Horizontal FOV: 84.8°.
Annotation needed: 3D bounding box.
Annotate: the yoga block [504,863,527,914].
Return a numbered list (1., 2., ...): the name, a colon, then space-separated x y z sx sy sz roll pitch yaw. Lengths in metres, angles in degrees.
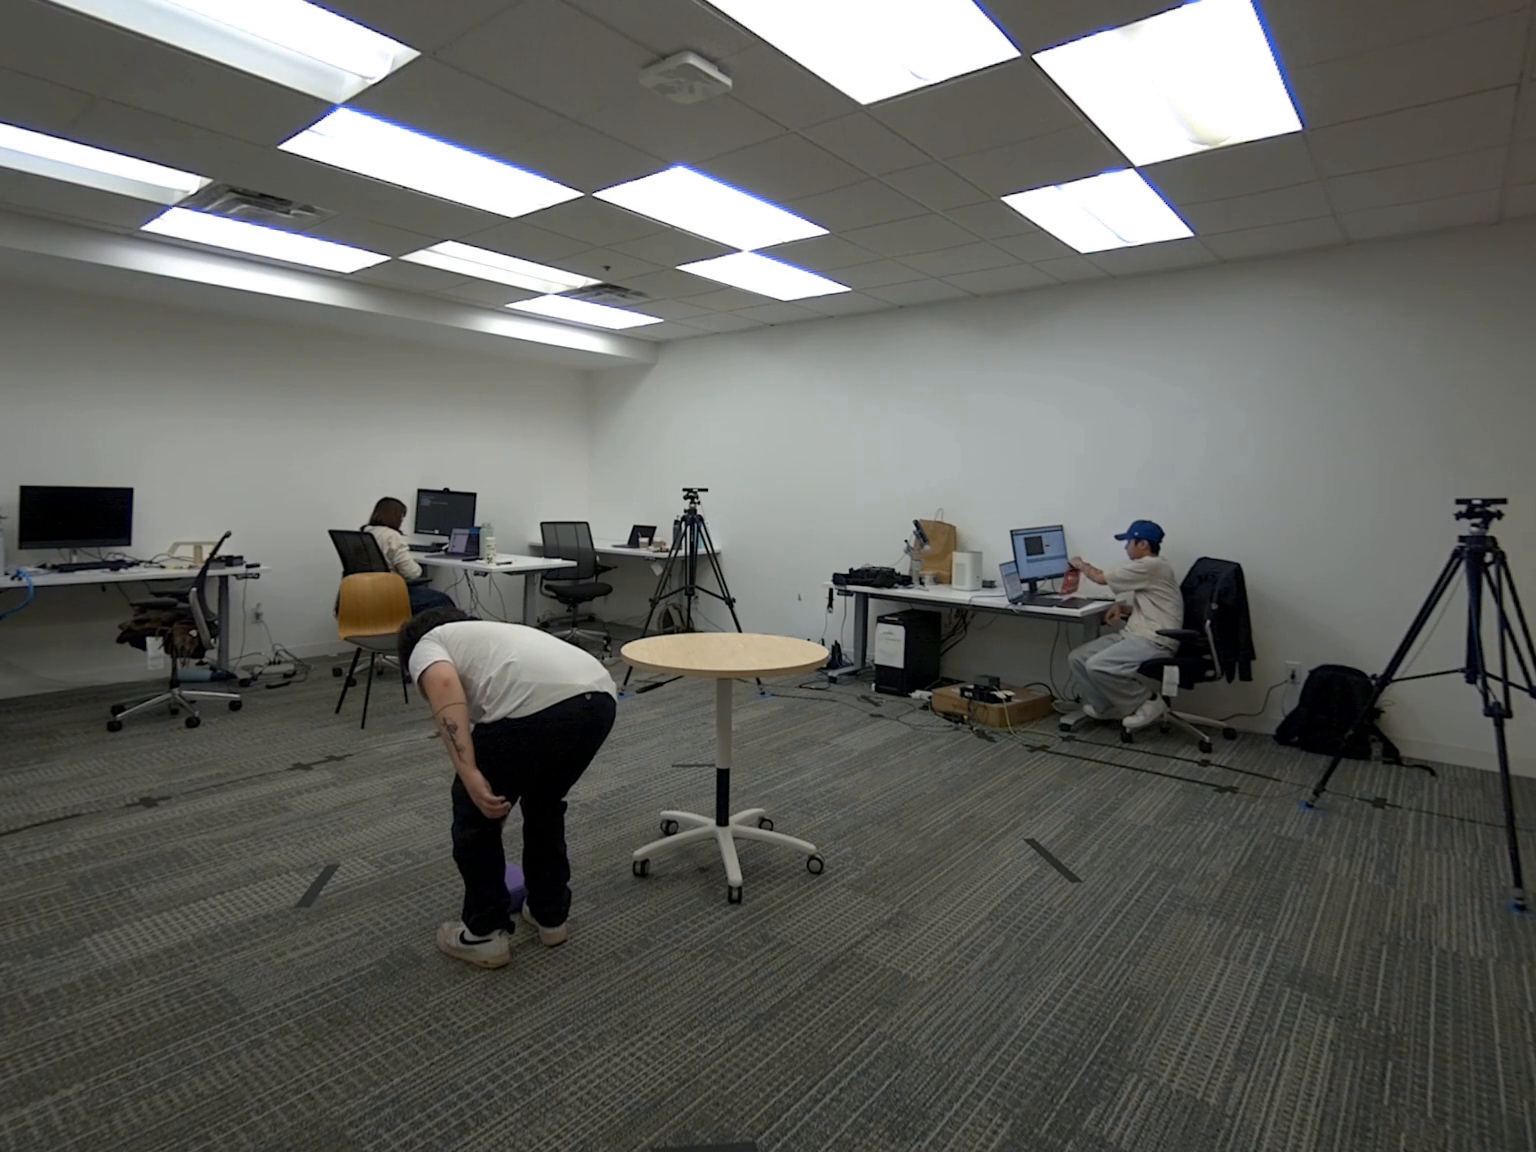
1. yoga block: -0.891 1.035 2.874 0.237 0.076 0.145 4 6 36
